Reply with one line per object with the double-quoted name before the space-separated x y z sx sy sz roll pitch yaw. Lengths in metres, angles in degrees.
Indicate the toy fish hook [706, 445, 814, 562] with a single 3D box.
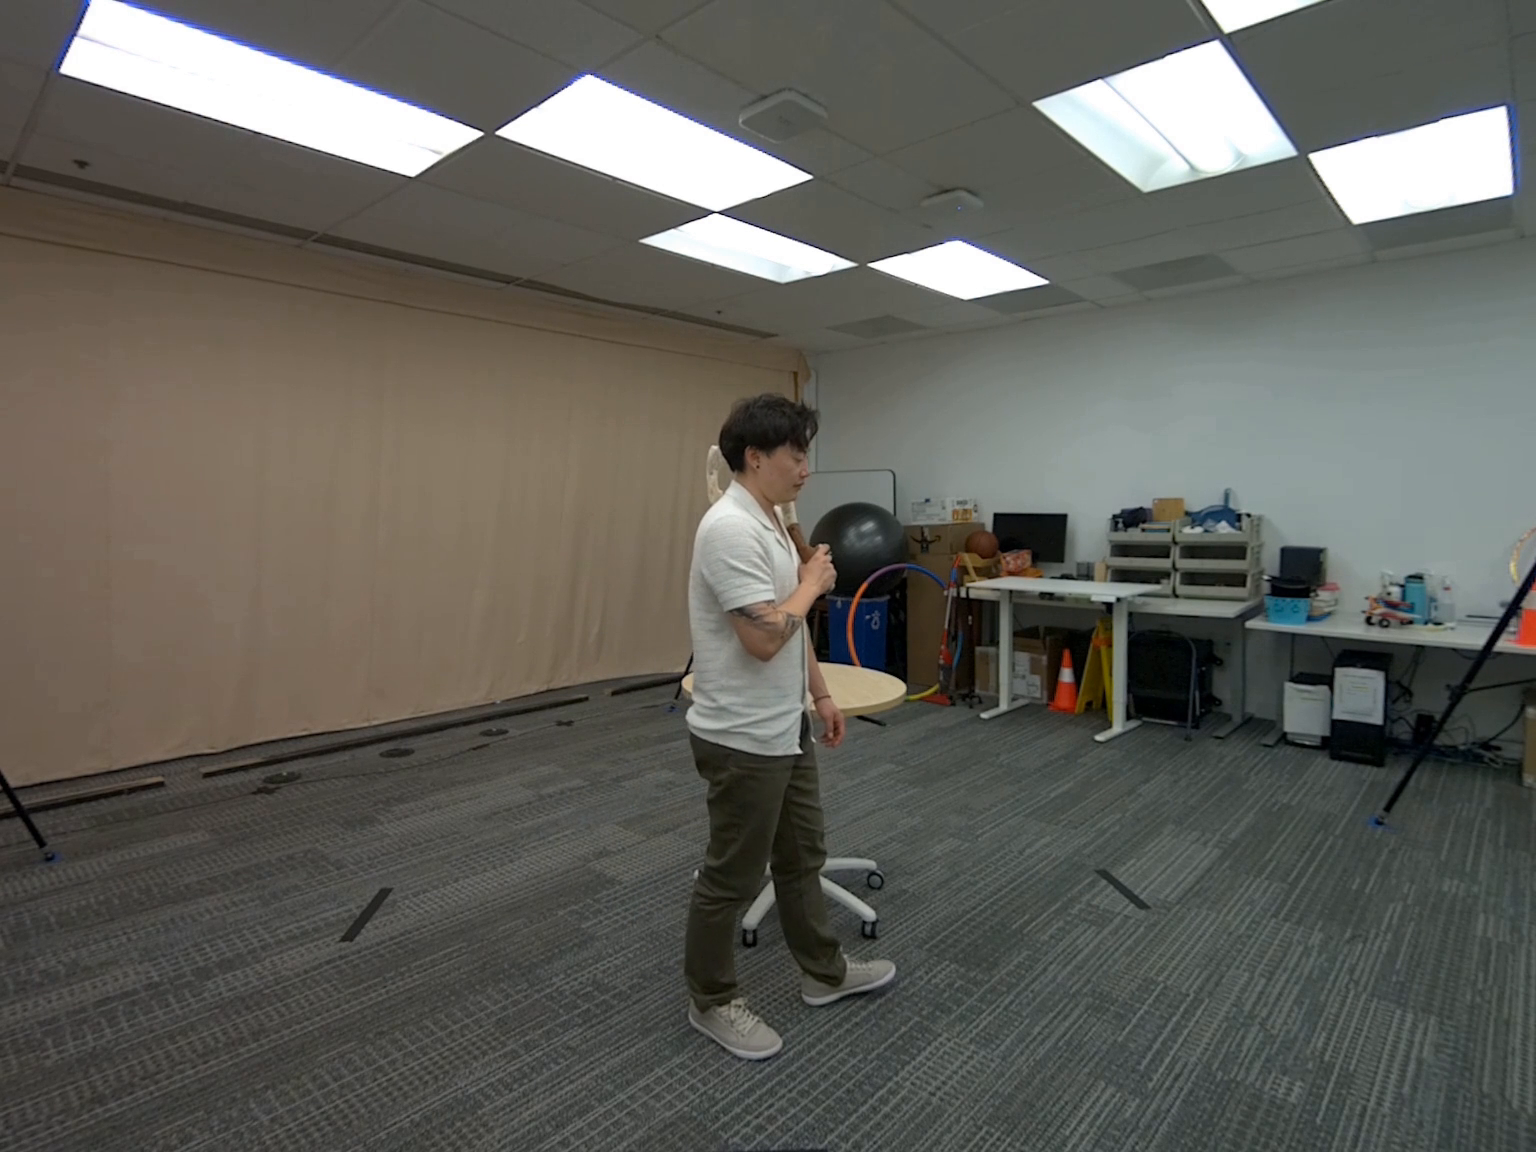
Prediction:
"toy fish hook" 0.015 -0.157 2.219 0.226 0.514 0.047 -29 -15 9
